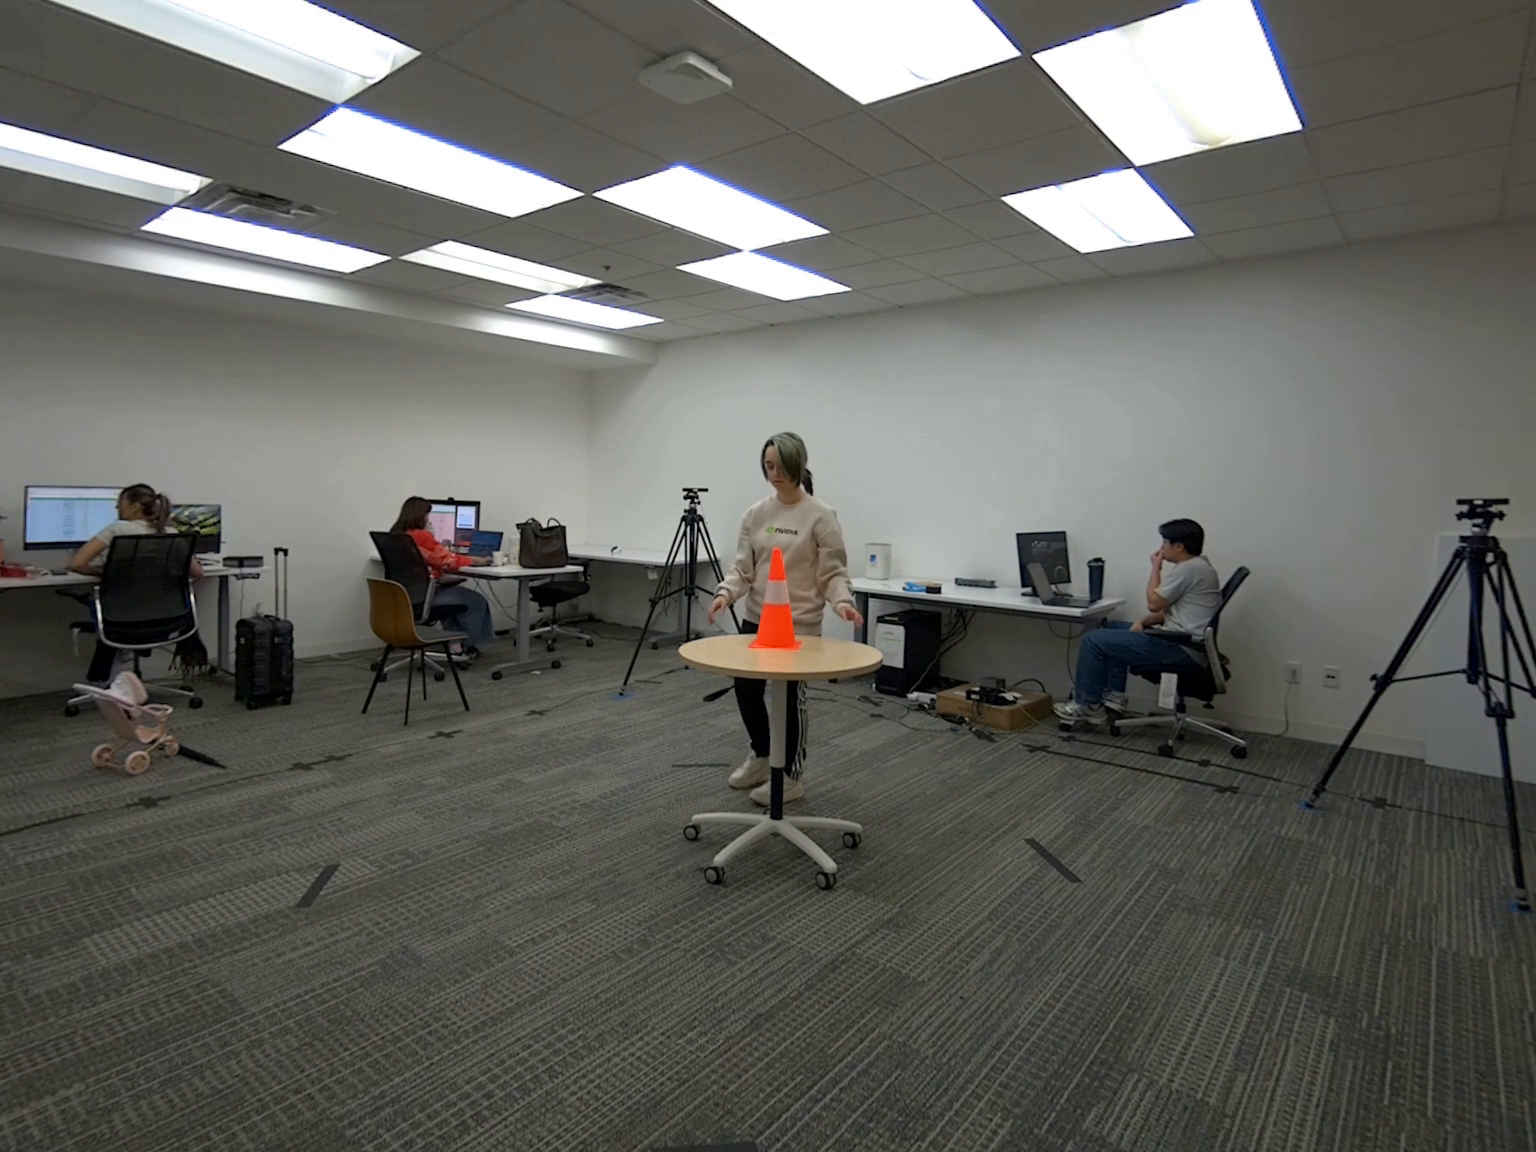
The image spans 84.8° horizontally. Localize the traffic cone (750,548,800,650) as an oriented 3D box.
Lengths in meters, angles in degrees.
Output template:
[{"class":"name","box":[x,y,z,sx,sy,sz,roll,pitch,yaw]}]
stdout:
[{"class":"traffic cone","box":[0.019,0.074,3.344,0.208,0.382,0.201,2,6,14]}]
